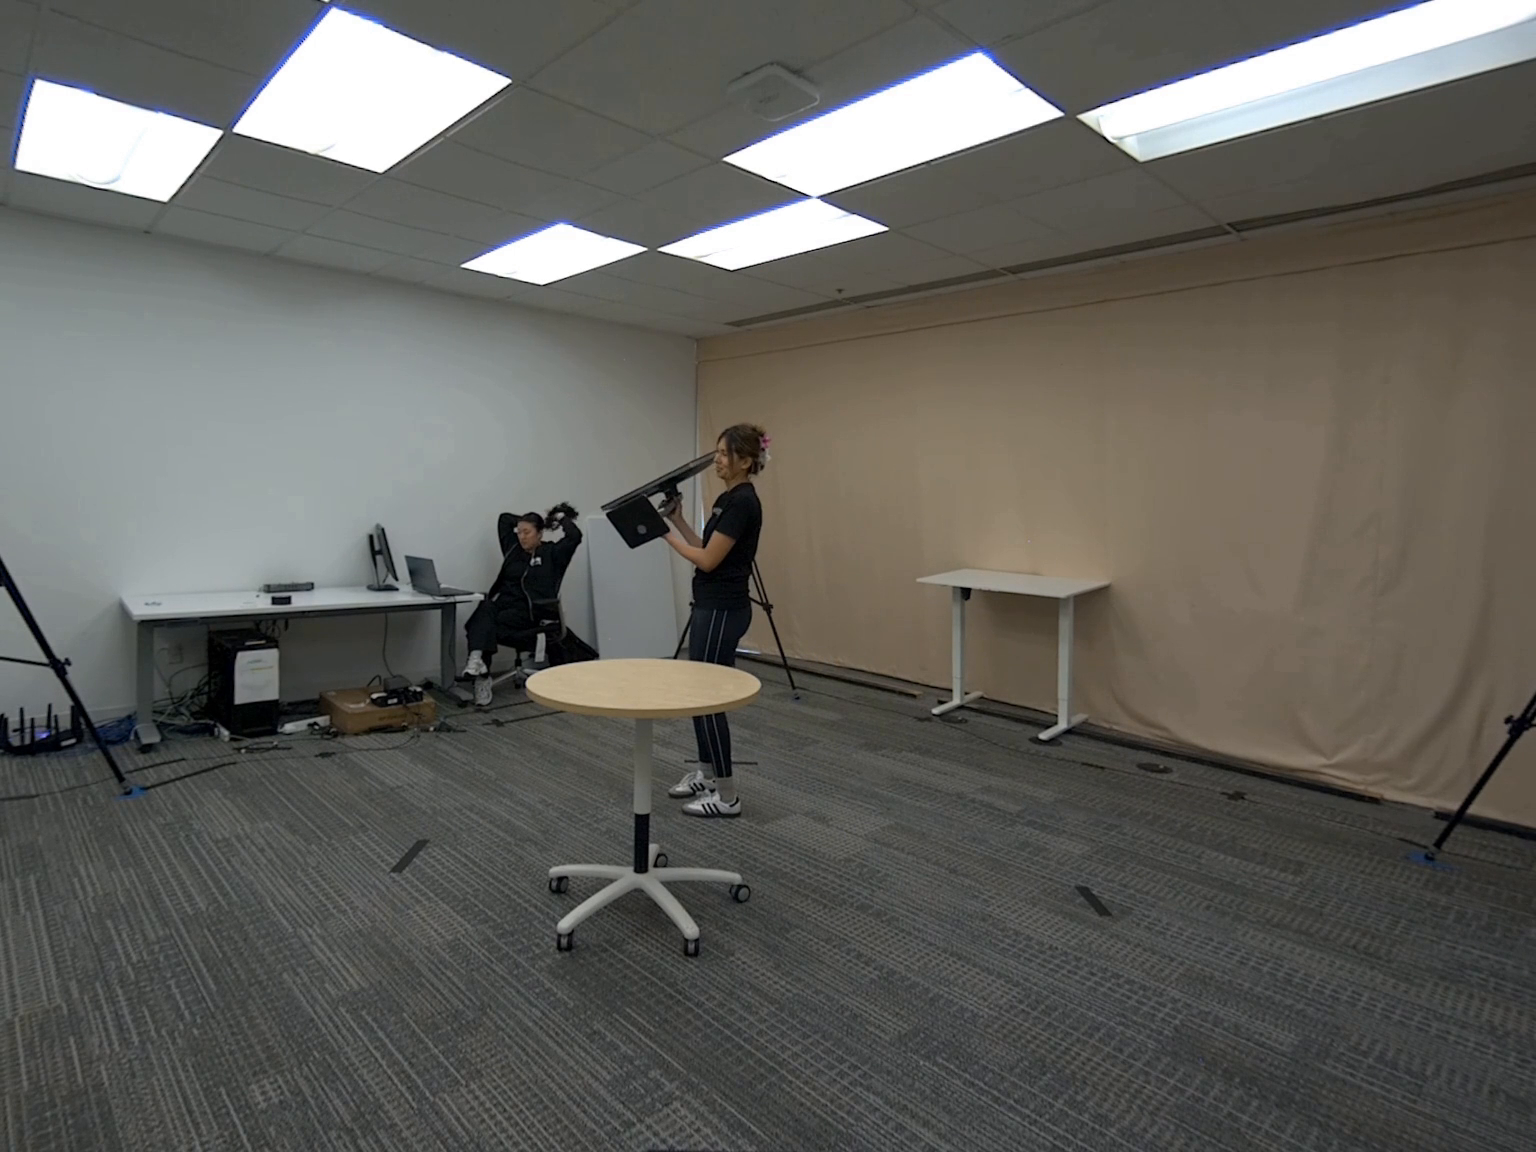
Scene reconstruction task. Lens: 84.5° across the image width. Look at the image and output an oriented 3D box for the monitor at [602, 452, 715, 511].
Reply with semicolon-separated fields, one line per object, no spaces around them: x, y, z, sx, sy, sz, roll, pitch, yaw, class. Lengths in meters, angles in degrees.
-0.504;-0.374;3.897;0.547;0.183;0.526;-17;28;31;monitor
